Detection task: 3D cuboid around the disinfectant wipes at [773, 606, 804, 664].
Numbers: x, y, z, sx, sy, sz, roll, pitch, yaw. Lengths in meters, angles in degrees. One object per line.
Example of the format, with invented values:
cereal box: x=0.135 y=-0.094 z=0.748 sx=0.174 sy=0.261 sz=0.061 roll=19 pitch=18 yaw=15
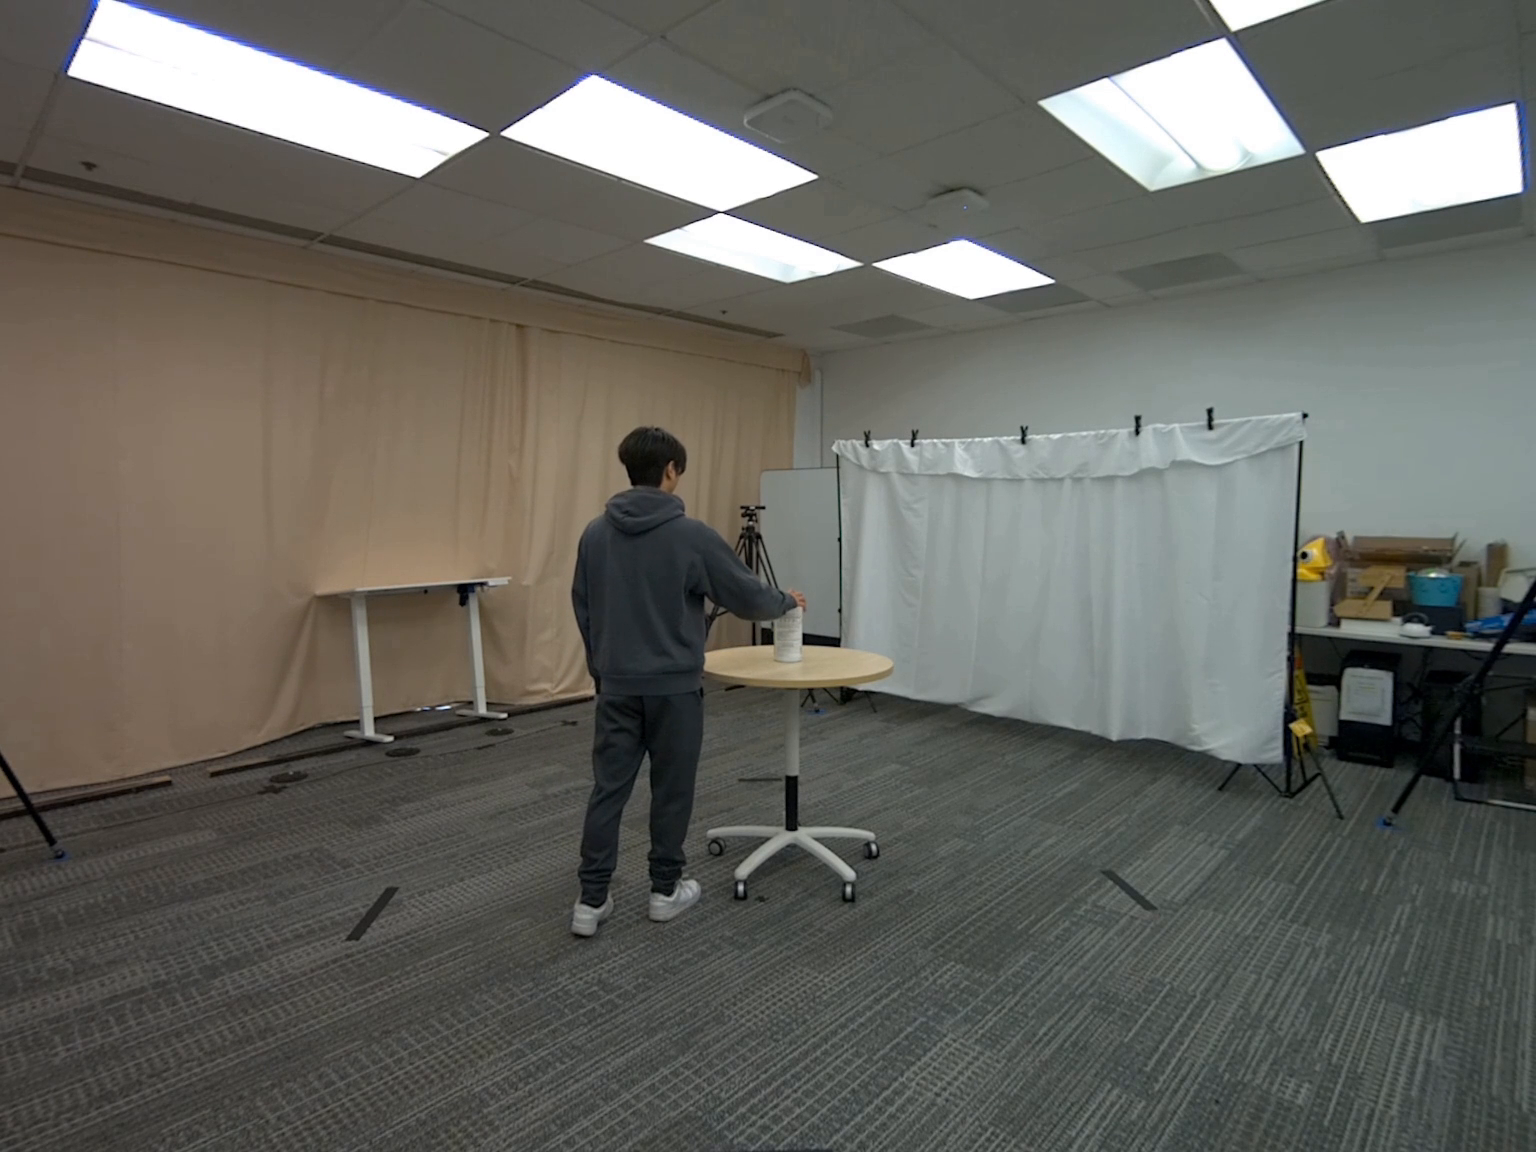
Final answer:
disinfectant wipes: x=0.083 y=0.217 z=3.238 sx=0.118 sy=0.217 sz=0.118 roll=-1 pitch=3 yaw=-2
